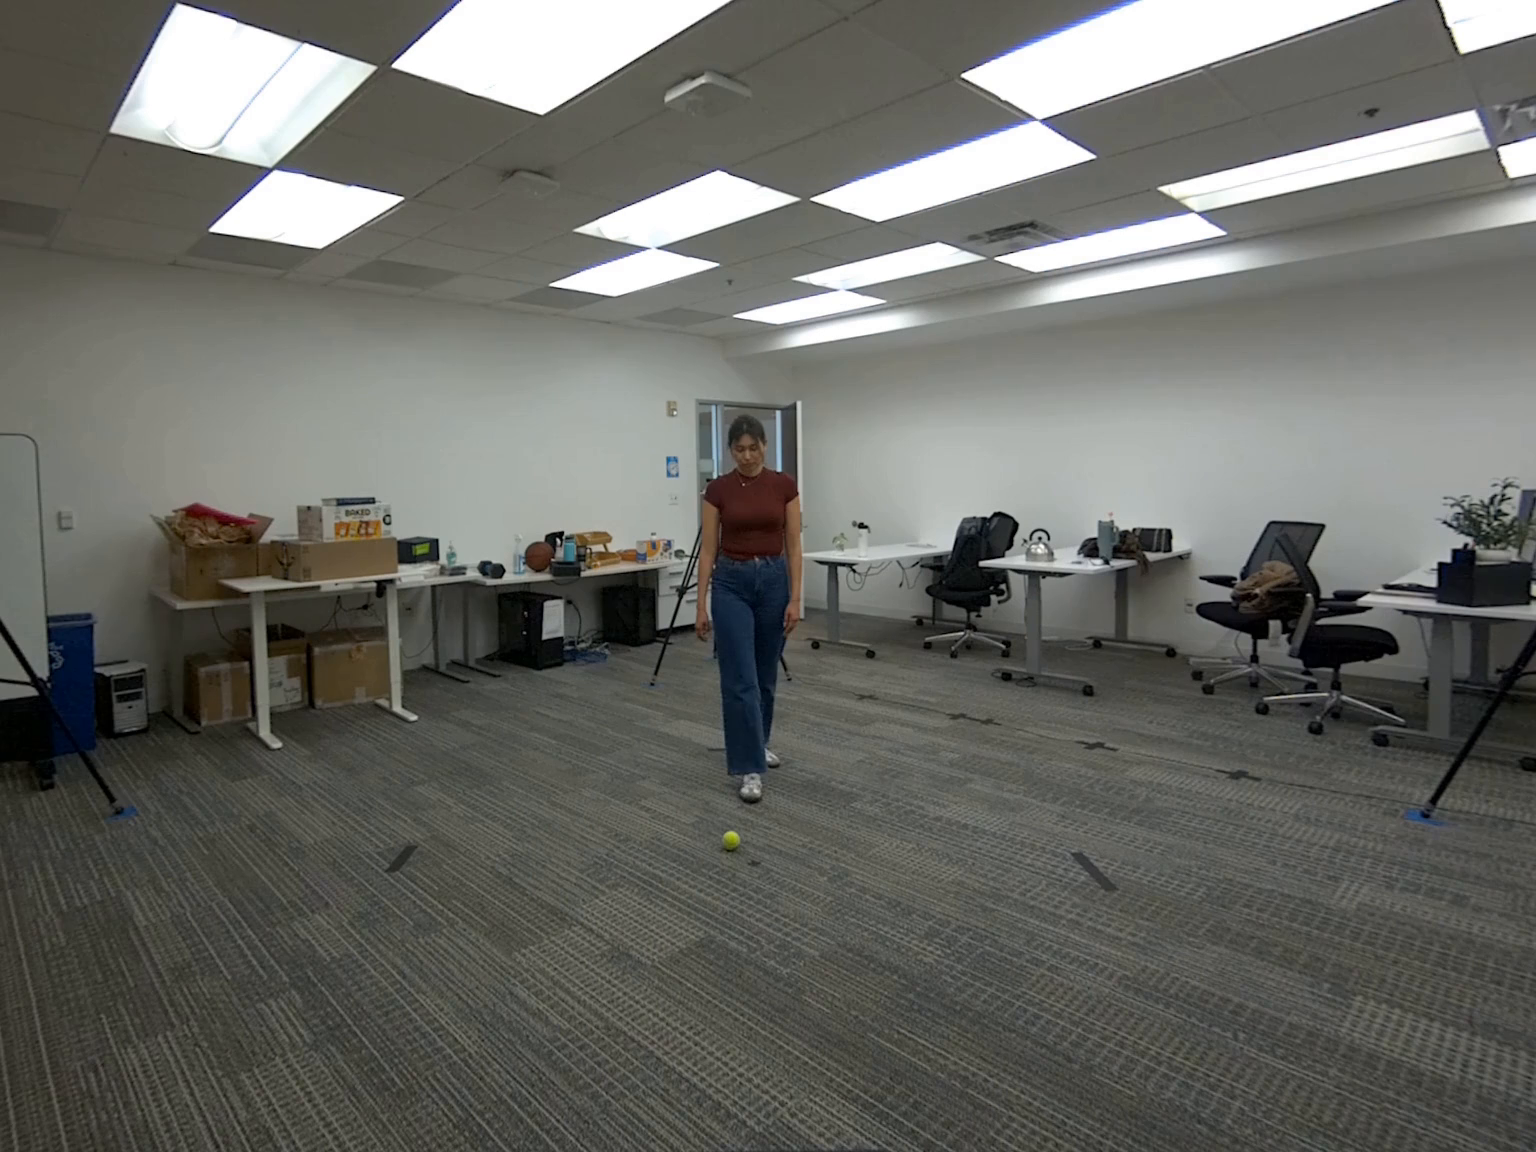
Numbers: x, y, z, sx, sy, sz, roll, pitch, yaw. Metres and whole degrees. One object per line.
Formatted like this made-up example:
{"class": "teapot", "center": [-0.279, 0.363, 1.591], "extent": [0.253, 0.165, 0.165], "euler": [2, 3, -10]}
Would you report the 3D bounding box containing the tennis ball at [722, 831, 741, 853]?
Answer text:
{"class": "tennis ball", "center": [-0.141, 0.989, 3.218], "extent": [0.066, 0.066, 0.067], "euler": [-1, 5, -2]}
